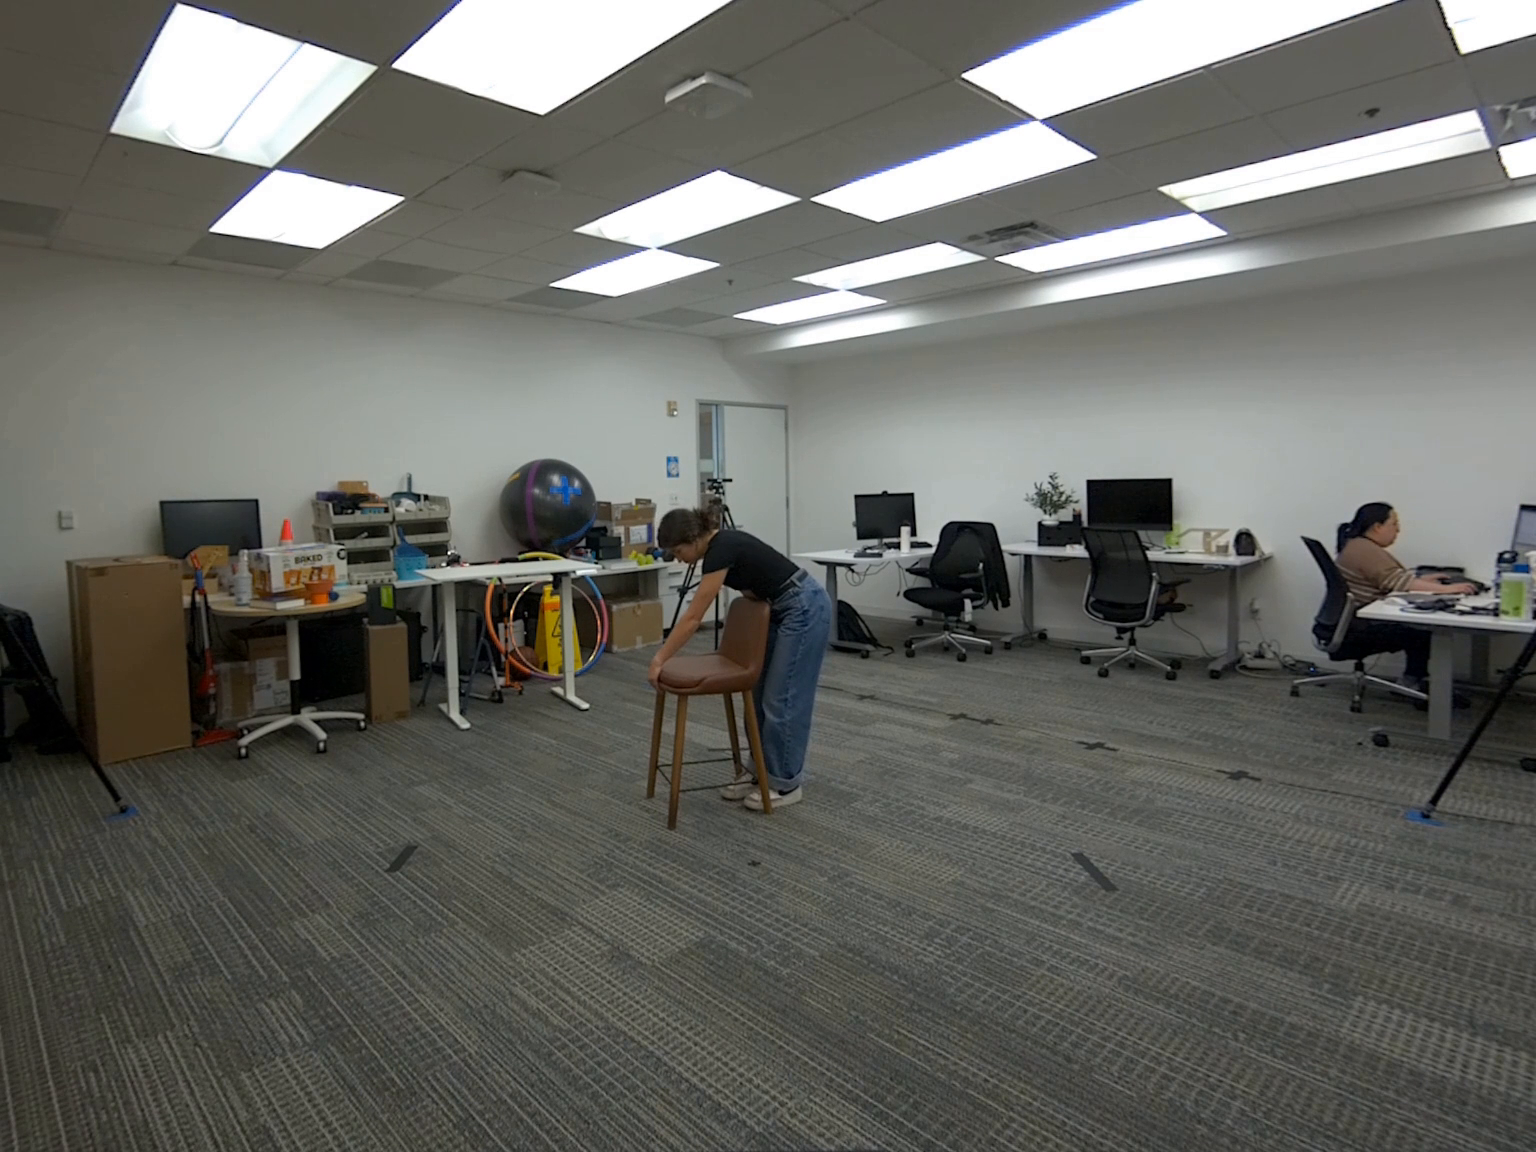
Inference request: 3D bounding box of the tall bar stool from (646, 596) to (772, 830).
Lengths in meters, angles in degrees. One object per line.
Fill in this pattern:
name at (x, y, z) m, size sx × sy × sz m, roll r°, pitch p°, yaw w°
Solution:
tall bar stool at (-0.262, 0.550, 3.647) m, size 0.459 × 0.887 × 0.466 m, roll -1°, pitch 3°, yaw -20°
